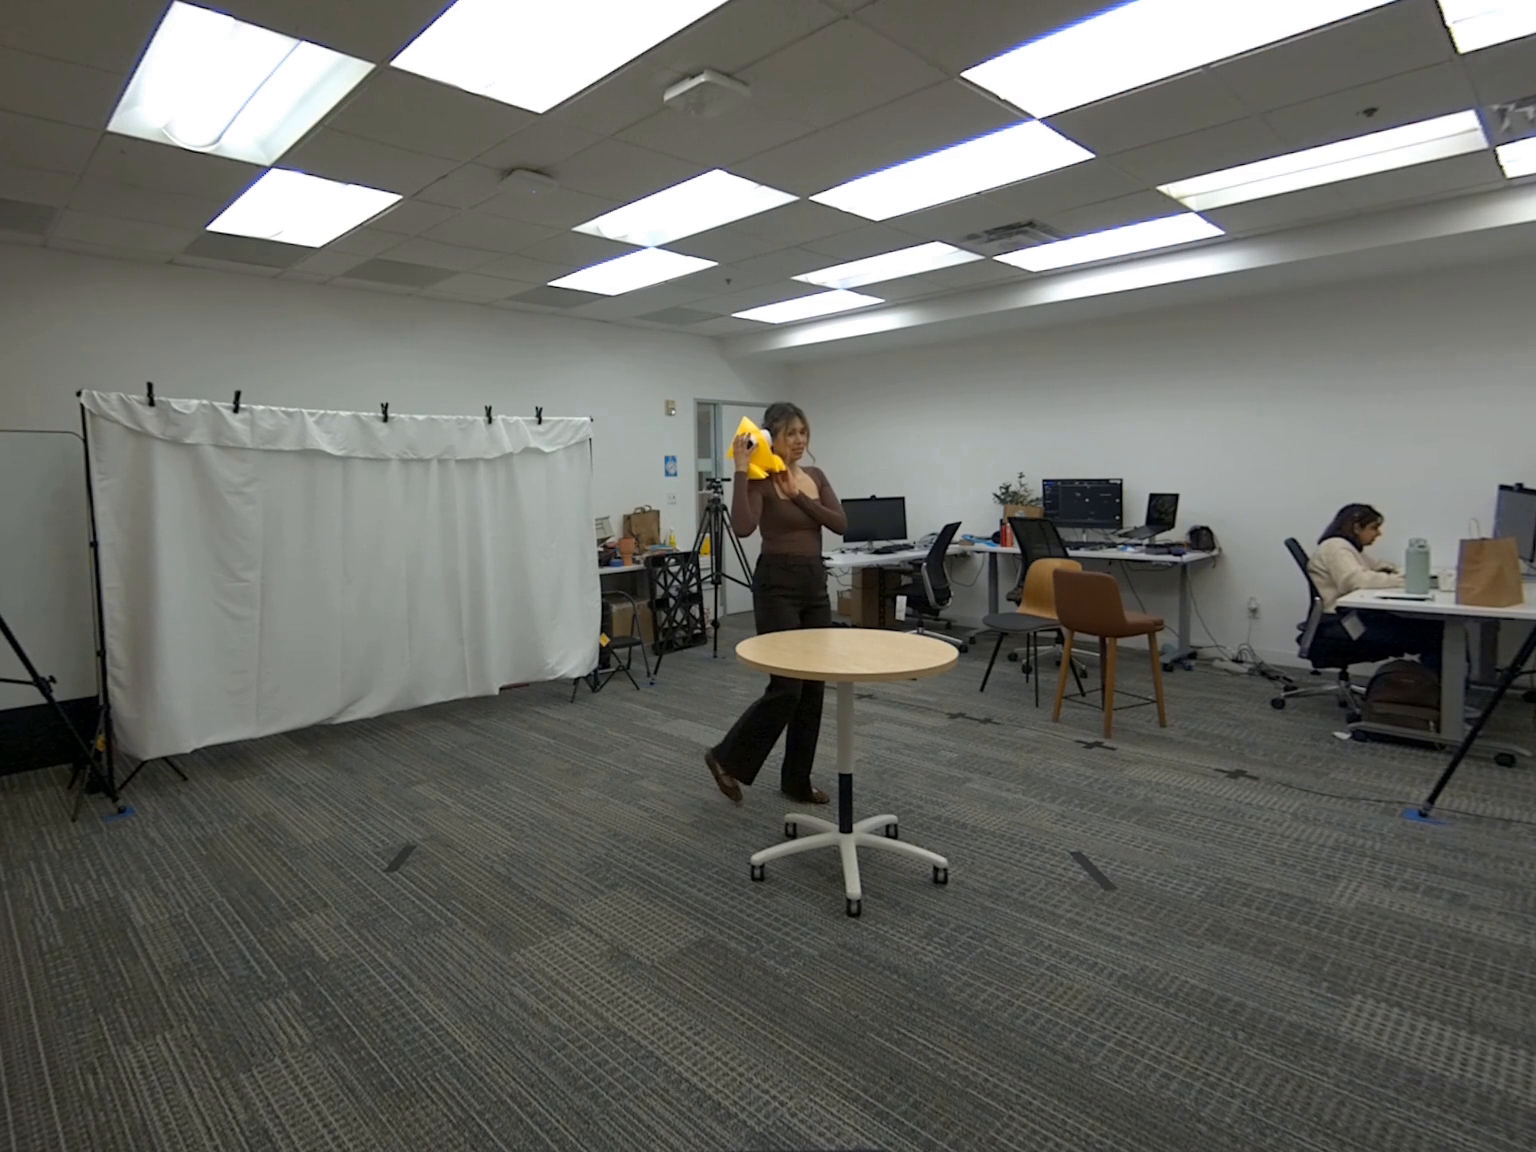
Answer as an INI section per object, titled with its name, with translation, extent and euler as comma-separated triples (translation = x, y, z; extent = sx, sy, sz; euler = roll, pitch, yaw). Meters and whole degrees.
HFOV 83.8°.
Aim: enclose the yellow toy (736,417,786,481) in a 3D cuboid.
[yellow toy]
translation = -0.045, -0.544, 3.539
extent = 0.200, 0.226, 0.201
euler = 14, 28, 41
